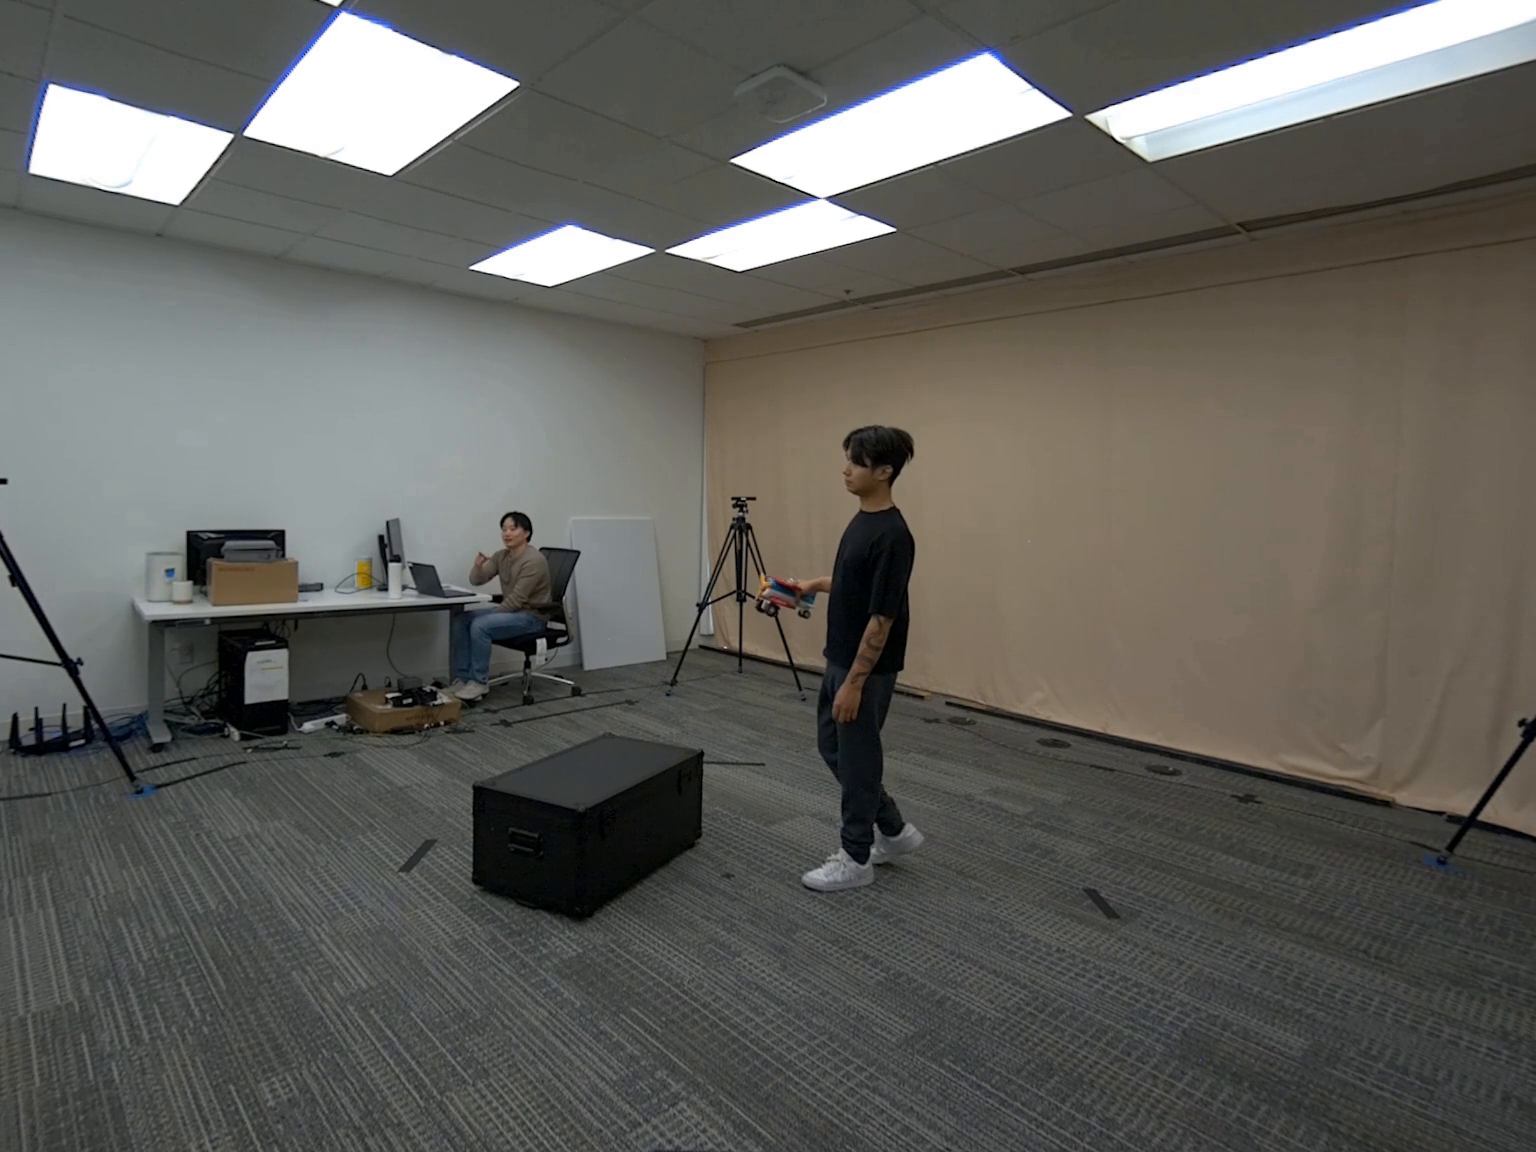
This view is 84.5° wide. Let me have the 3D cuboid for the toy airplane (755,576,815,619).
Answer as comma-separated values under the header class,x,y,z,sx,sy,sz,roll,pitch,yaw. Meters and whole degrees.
class,x,y,z,sx,sy,sz,roll,pitch,yaw
toy airplane,0.062,0.076,3.472,0.258,0.156,0.253,14,7,39
